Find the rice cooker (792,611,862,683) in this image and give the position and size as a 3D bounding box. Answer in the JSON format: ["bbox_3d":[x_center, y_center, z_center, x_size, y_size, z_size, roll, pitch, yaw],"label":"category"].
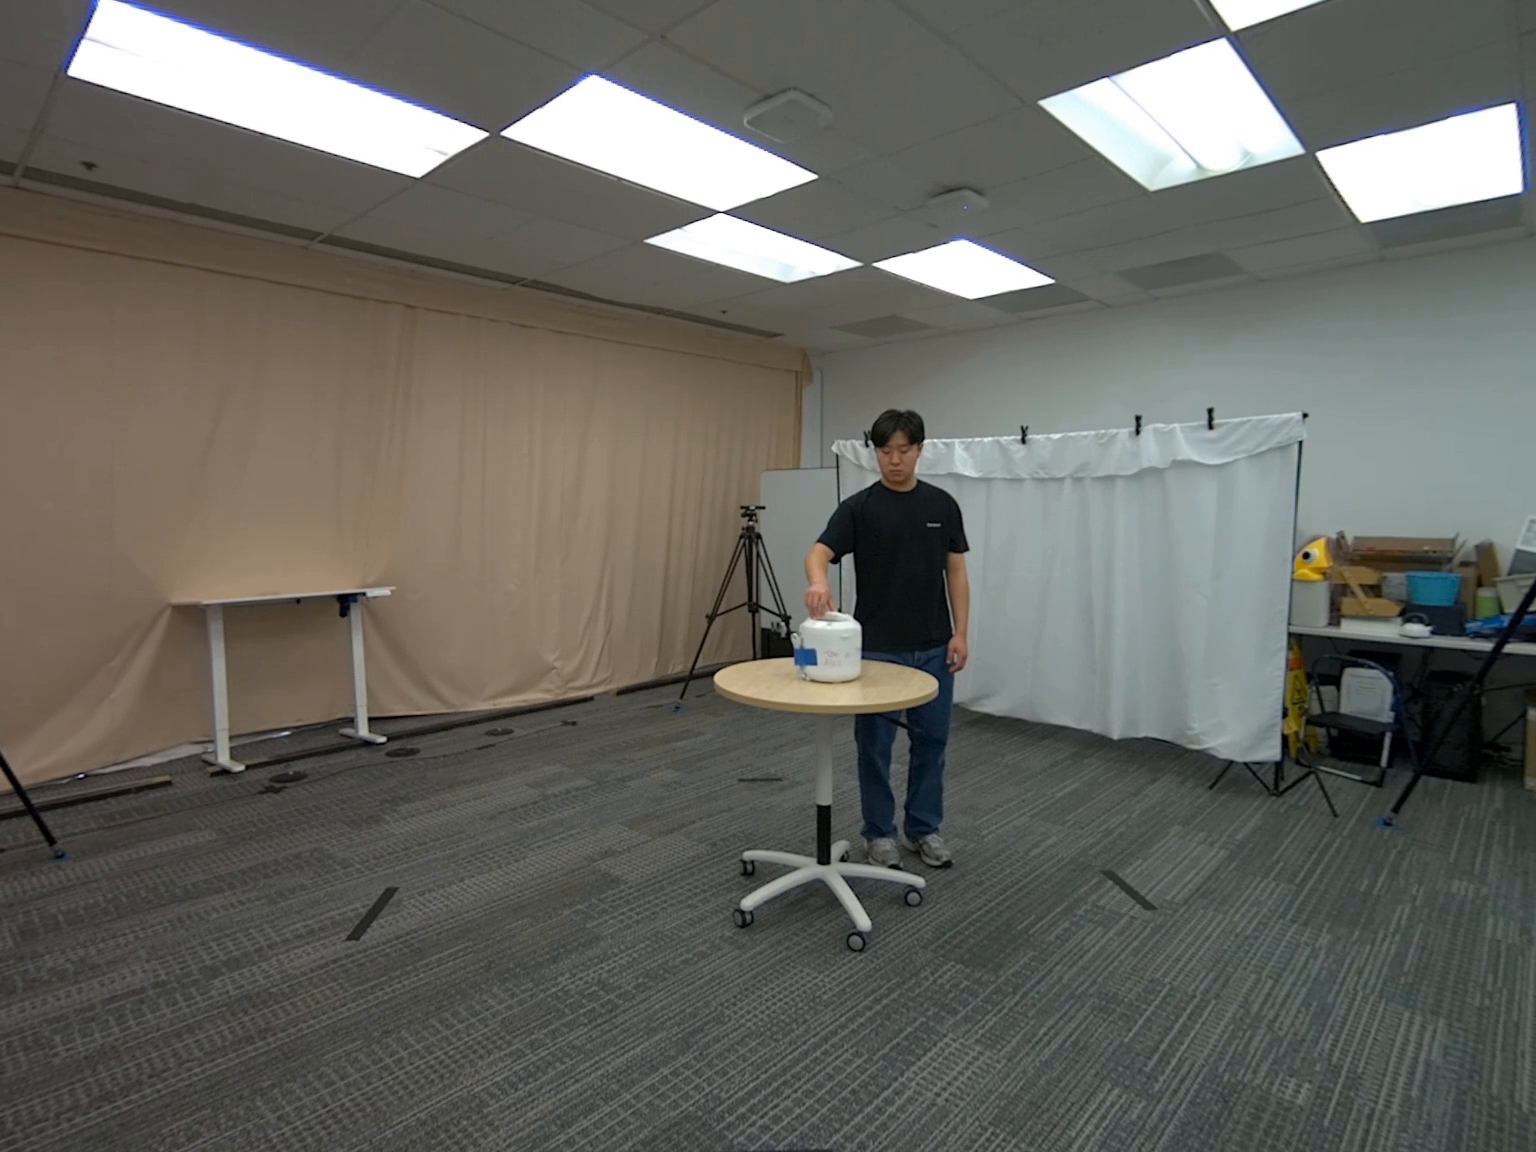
[{"bbox_3d":[0.218,0.238,2.908,0.227,0.232,0.212,3,5,29],"label":"rice cooker"}]
